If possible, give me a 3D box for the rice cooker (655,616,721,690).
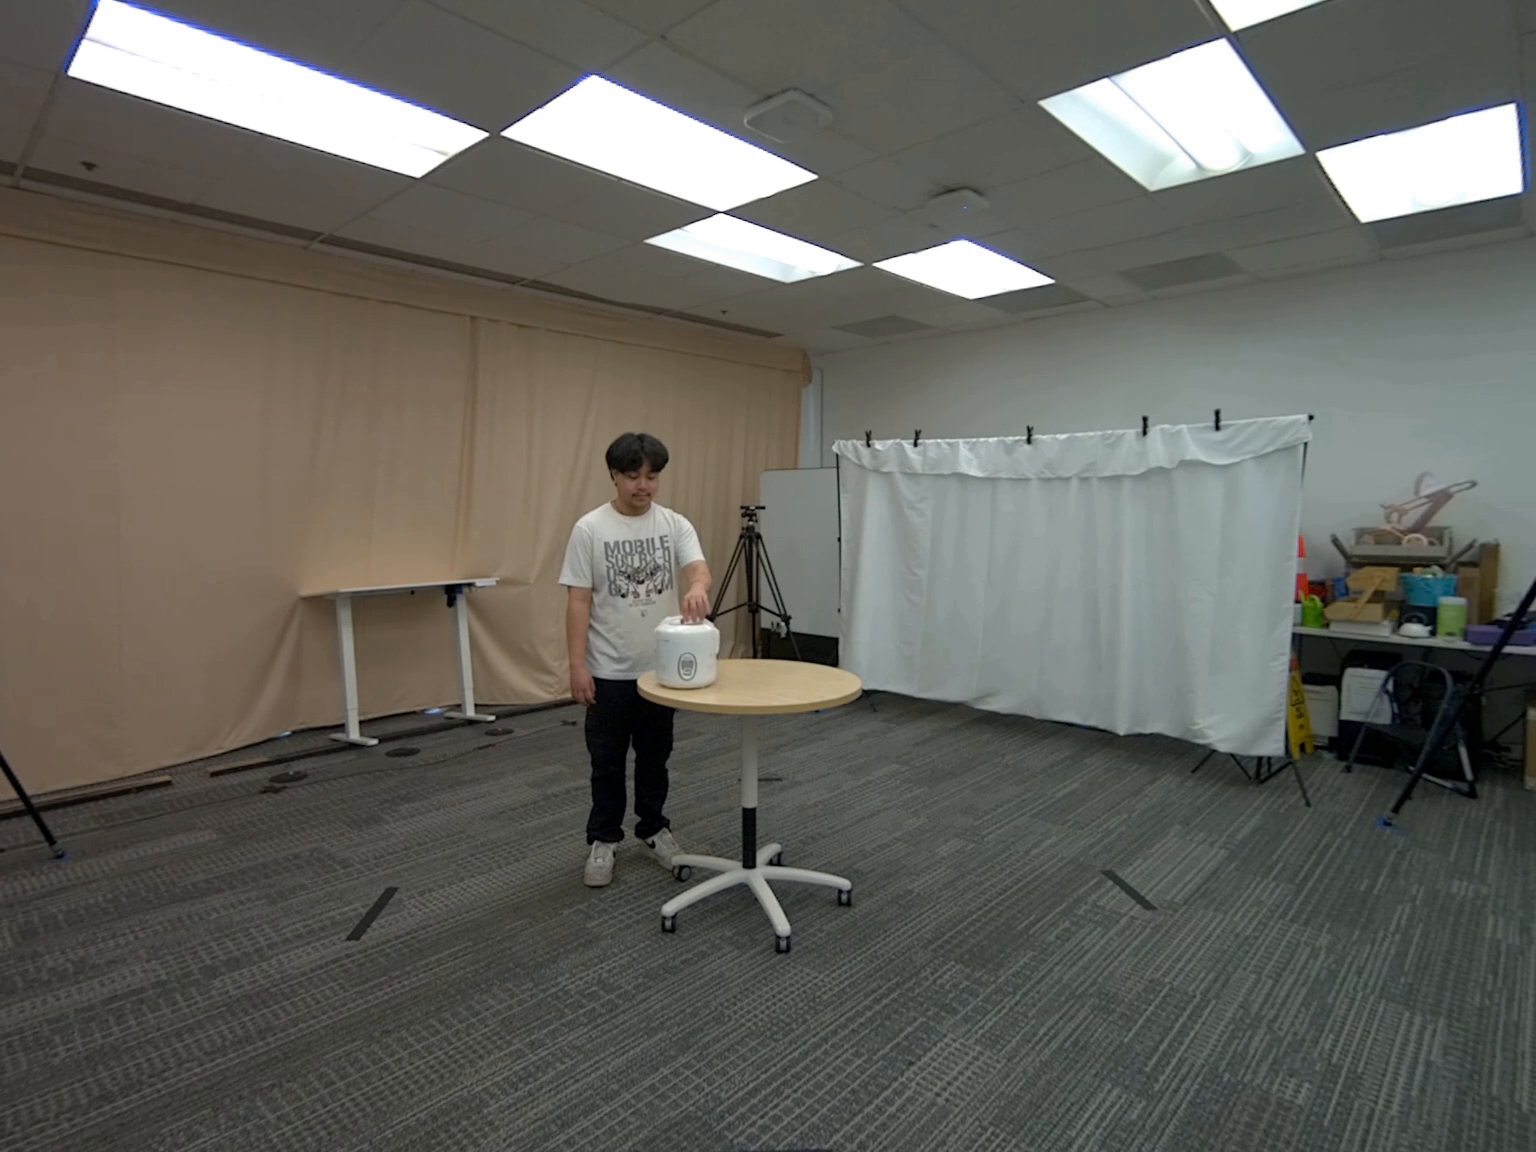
[{"bbox_3d":[-0.270,0.245,2.805,0.219,0.232,0.219,0,3,-5],"label":"rice cooker"}]
